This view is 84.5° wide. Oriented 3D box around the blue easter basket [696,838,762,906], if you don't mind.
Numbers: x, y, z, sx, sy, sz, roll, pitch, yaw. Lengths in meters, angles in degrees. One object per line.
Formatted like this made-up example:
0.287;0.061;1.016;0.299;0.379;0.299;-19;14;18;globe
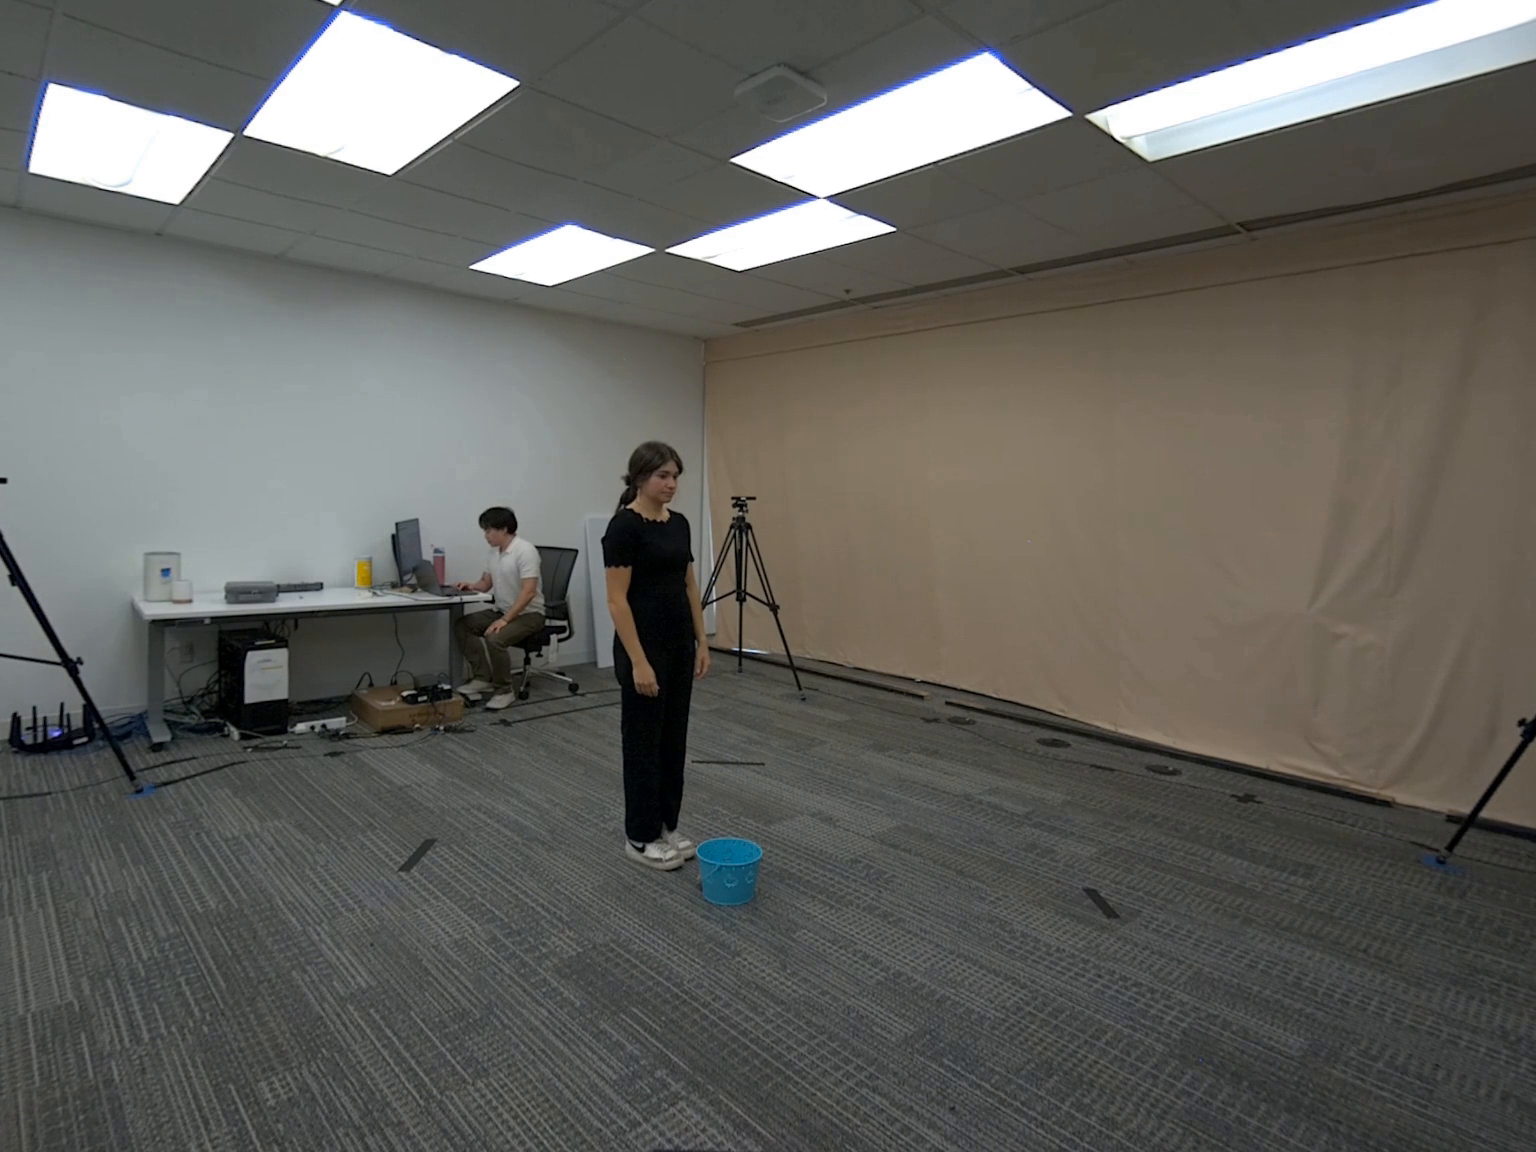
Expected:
-0.150;1.041;2.965;0.243;0.155;0.245;1;6;-1;blue easter basket
